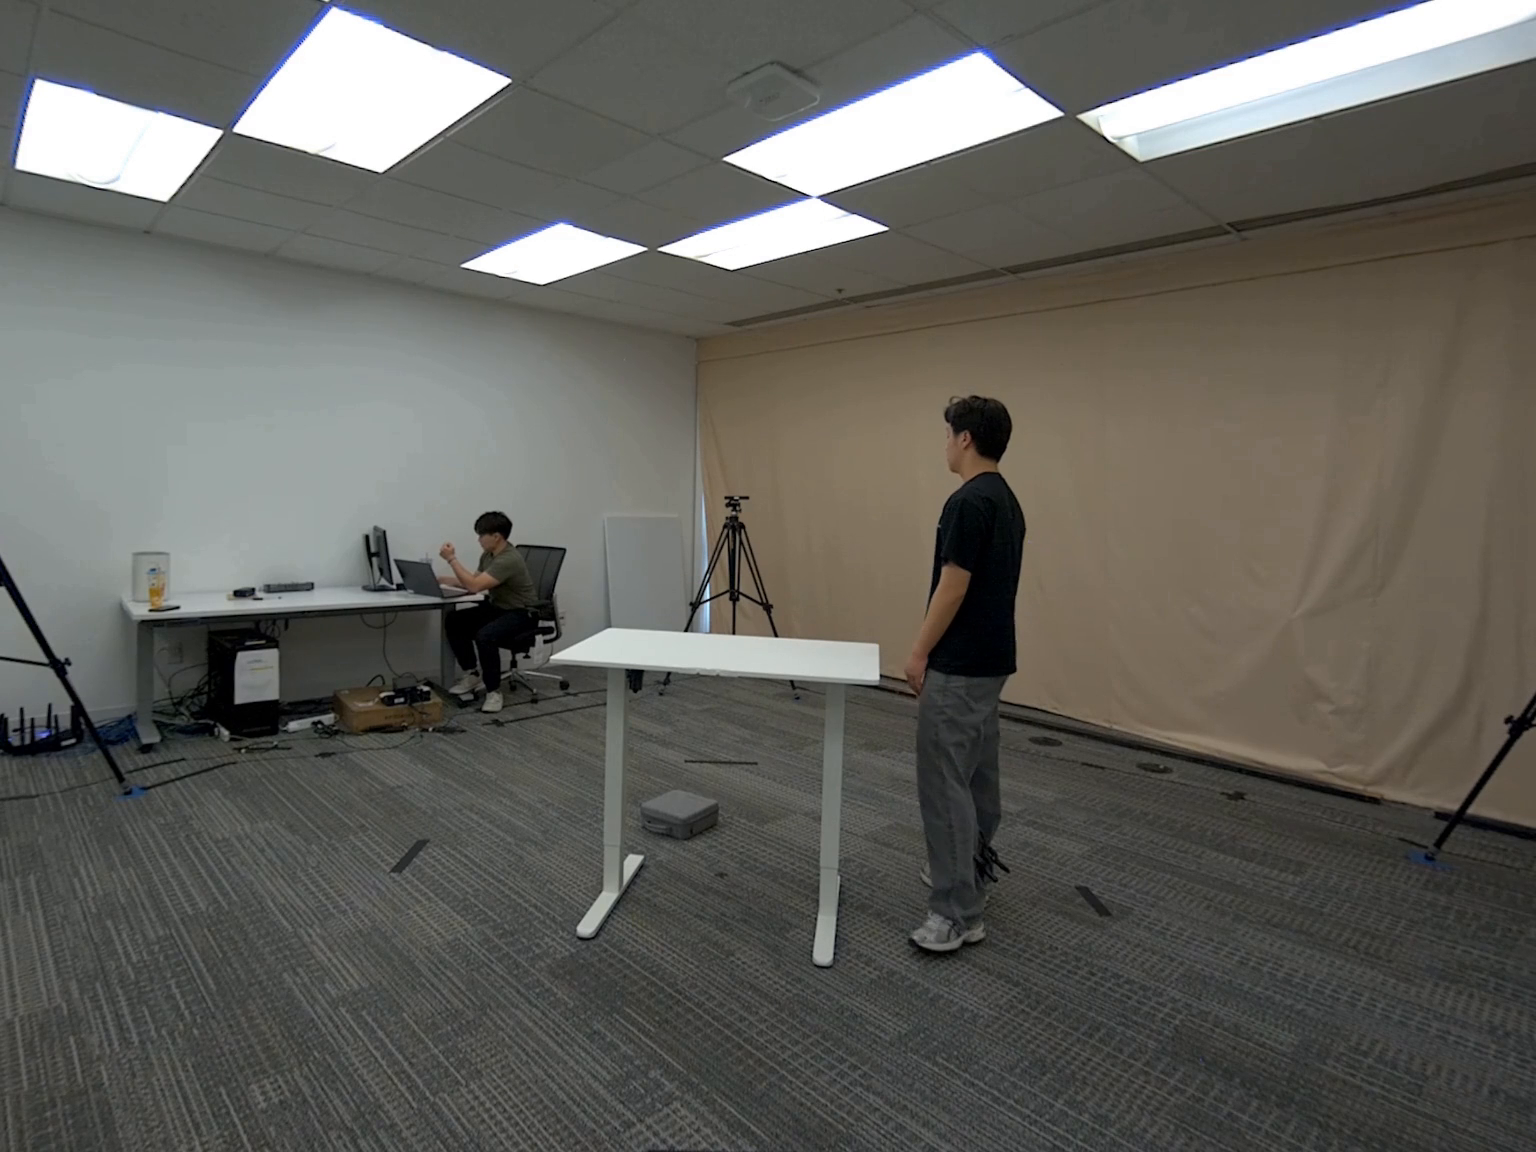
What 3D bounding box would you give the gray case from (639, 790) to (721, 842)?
[{"bbox_3d":[-0.388,1.007,3.552,0.269,0.102,0.281,4,7,35],"label":"gray case"}]
